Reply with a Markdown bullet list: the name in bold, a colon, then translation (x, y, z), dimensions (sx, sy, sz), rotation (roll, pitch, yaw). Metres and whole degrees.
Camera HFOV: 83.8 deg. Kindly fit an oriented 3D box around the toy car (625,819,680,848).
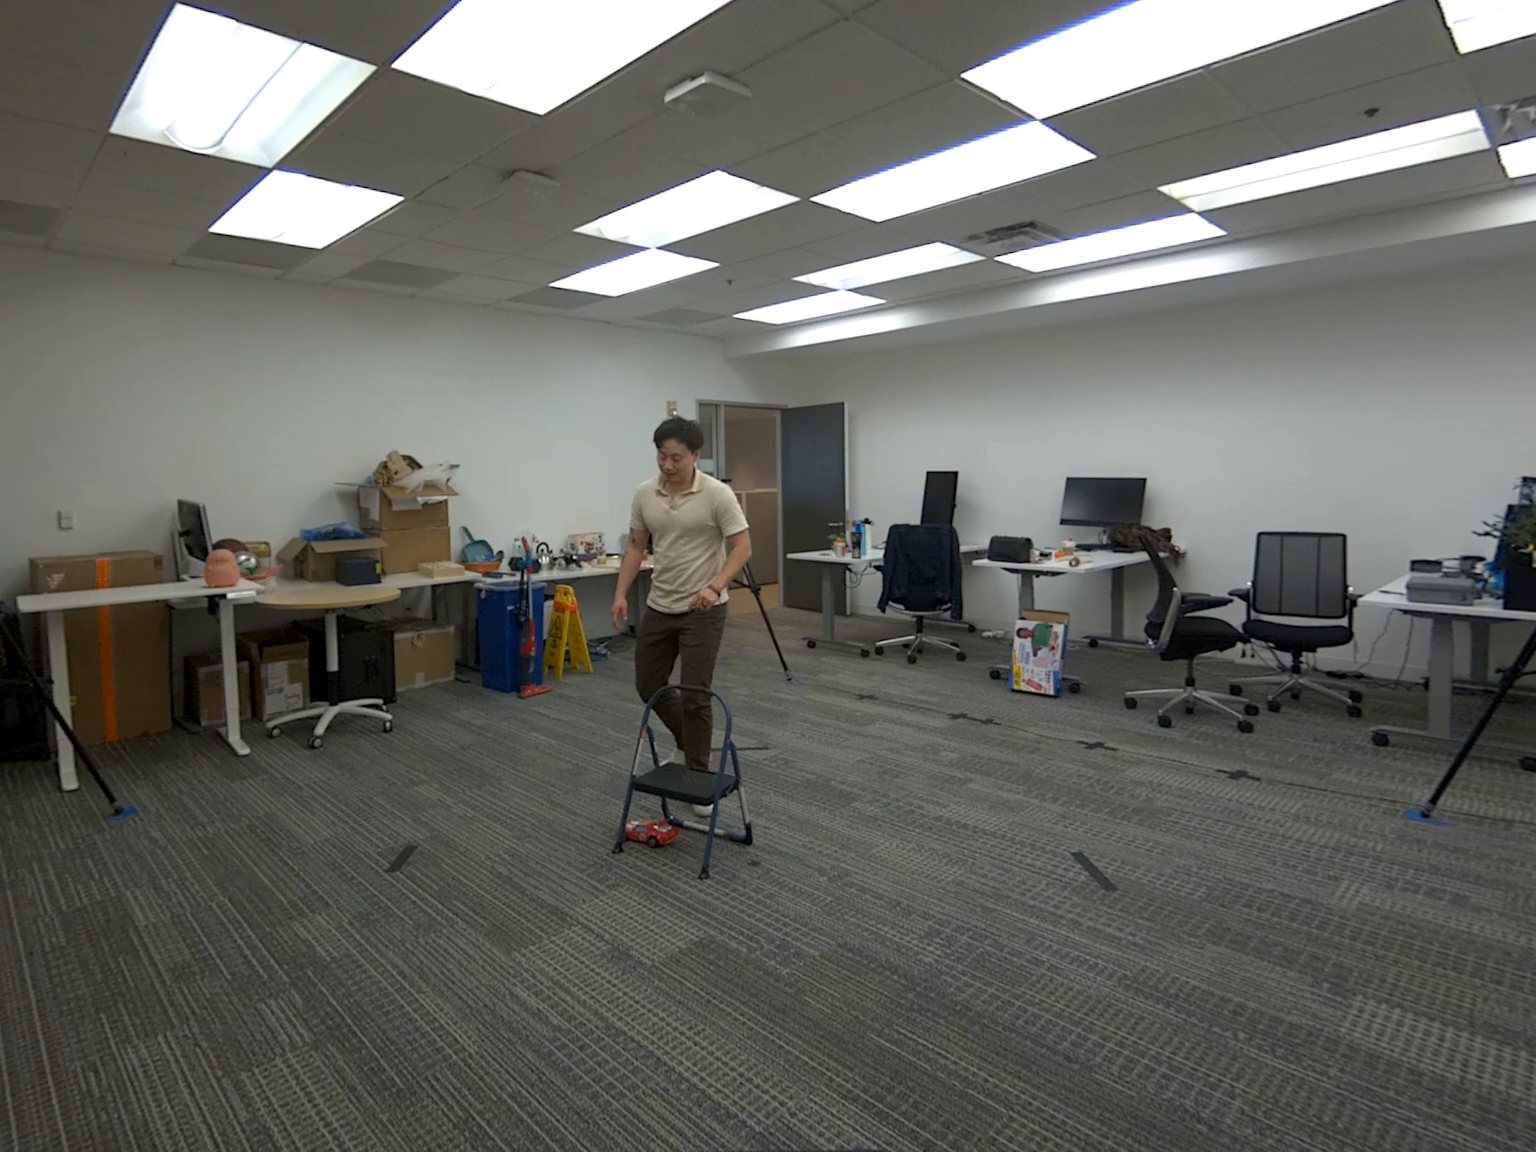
- **toy car**: translation (-0.456, 0.997, 3.317), dimensions (0.260, 0.083, 0.127), rotation (-11, 1, 30)
